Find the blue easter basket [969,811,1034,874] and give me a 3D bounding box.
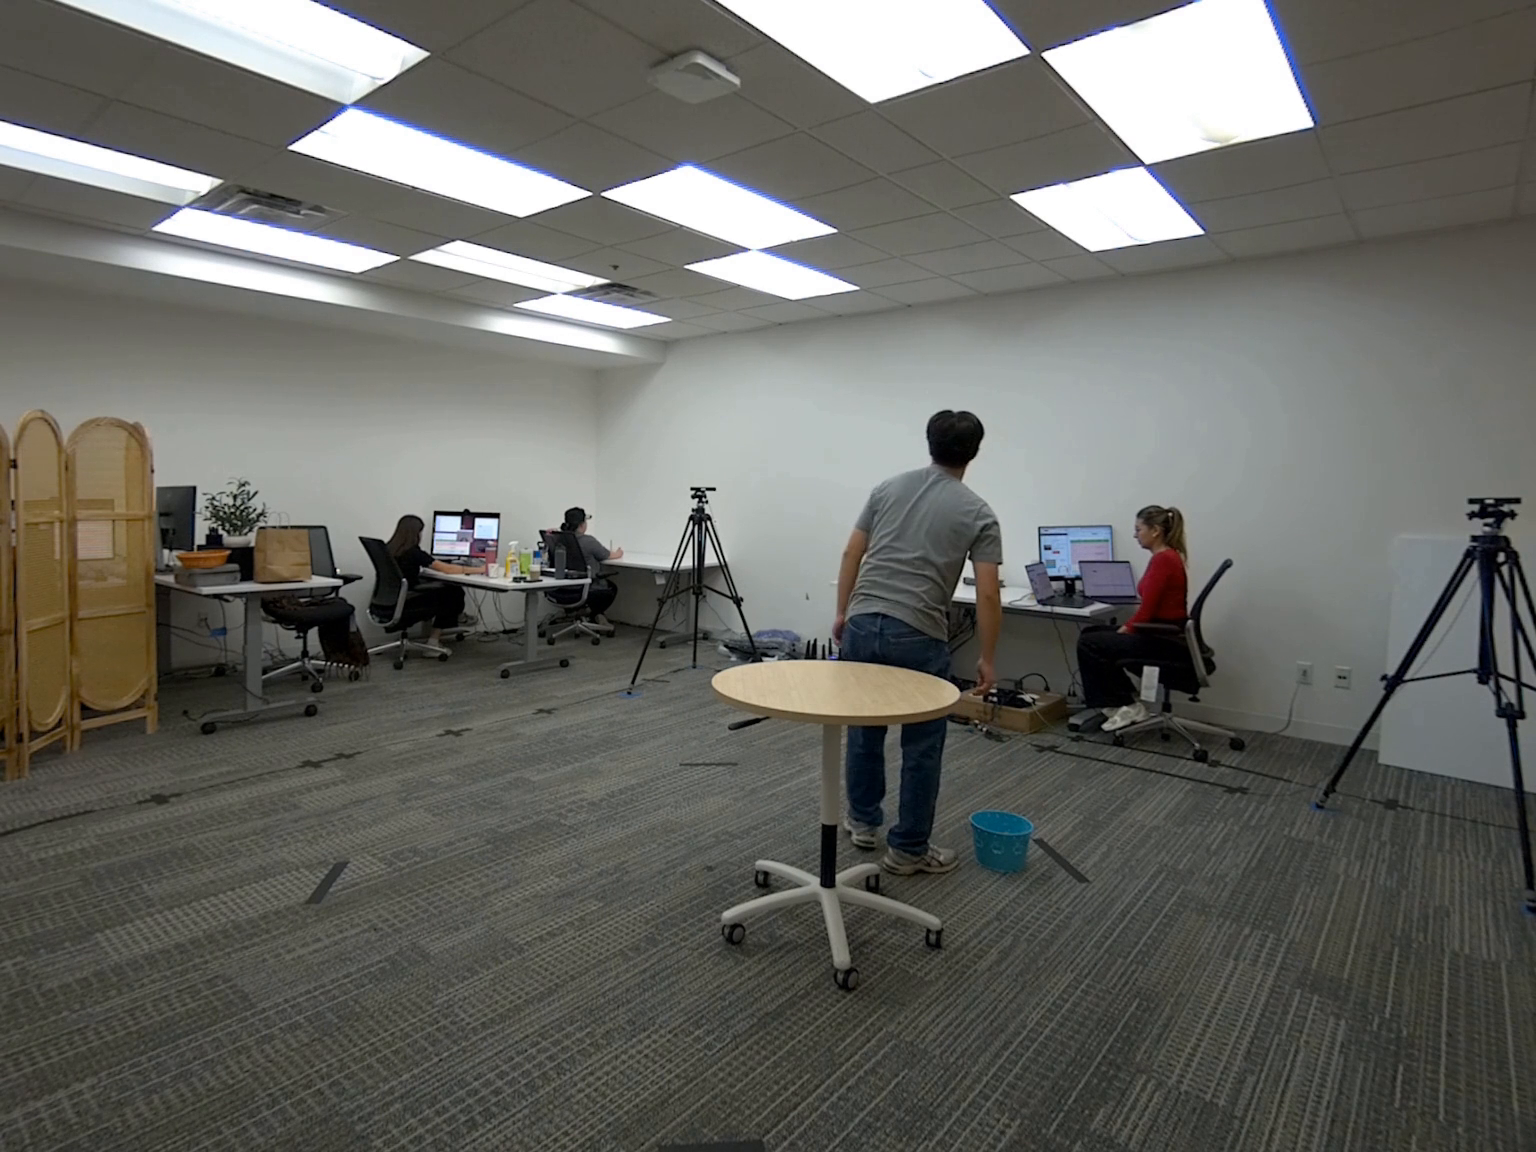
[{"bbox_3d":[0.883,1.006,3.224,0.243,0.155,0.245,1,6,-2],"label":"blue easter basket"}]
